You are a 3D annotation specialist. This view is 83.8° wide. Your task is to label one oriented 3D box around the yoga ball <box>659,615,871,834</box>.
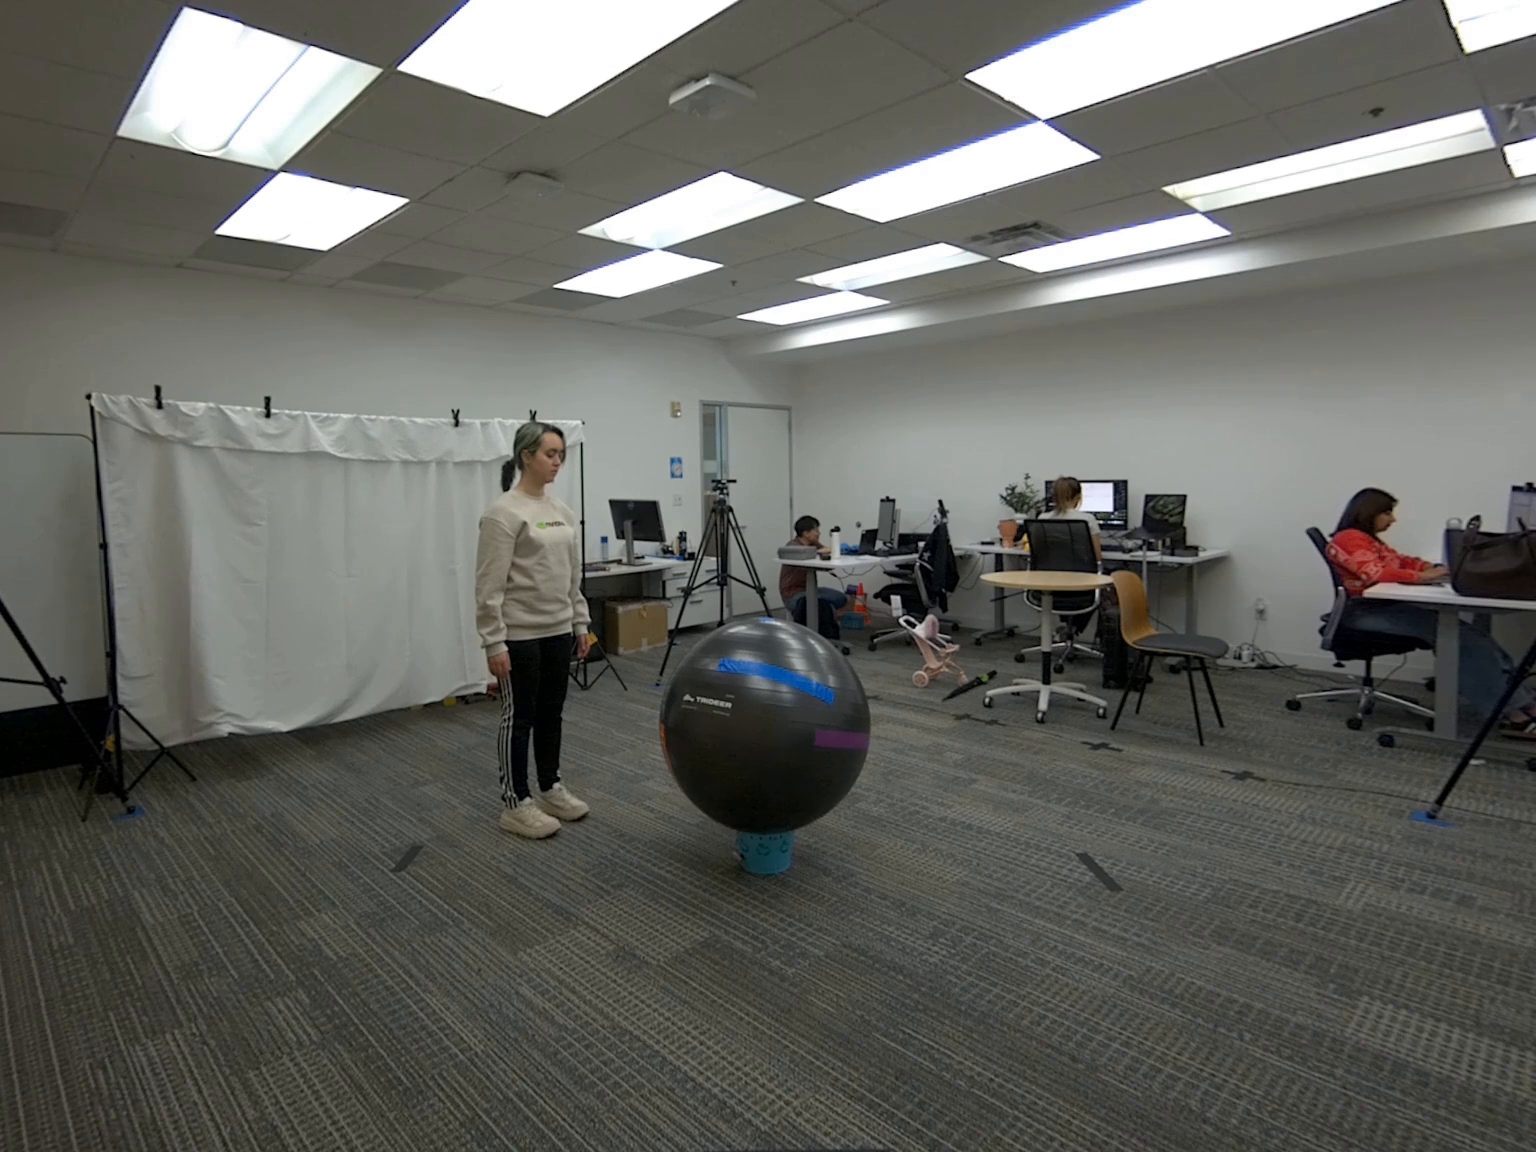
[{"bbox_3d":[-0.009,0.534,3.090,0.757,0.755,0.762,-1,5,-2],"label":"yoga ball"}]
